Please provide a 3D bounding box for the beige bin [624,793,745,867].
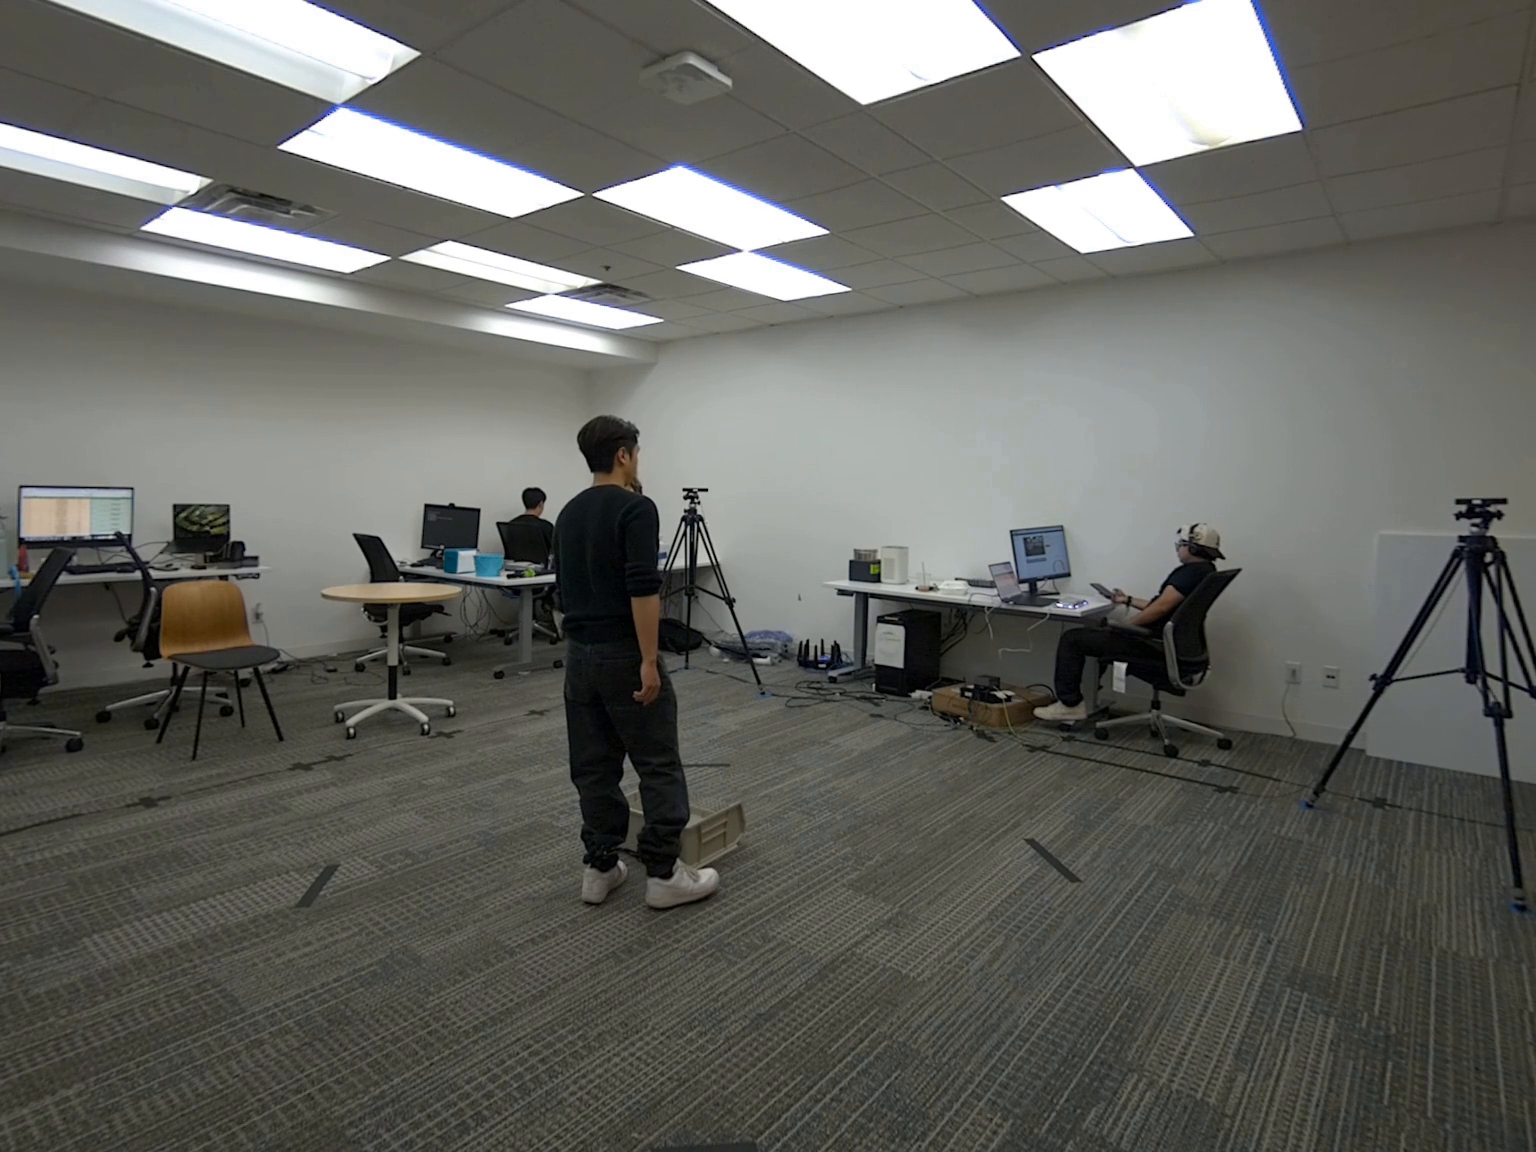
[{"bbox_3d":[-0.371,0.960,3.315,0.436,0.188,0.367,5,8,35],"label":"beige bin"}]
